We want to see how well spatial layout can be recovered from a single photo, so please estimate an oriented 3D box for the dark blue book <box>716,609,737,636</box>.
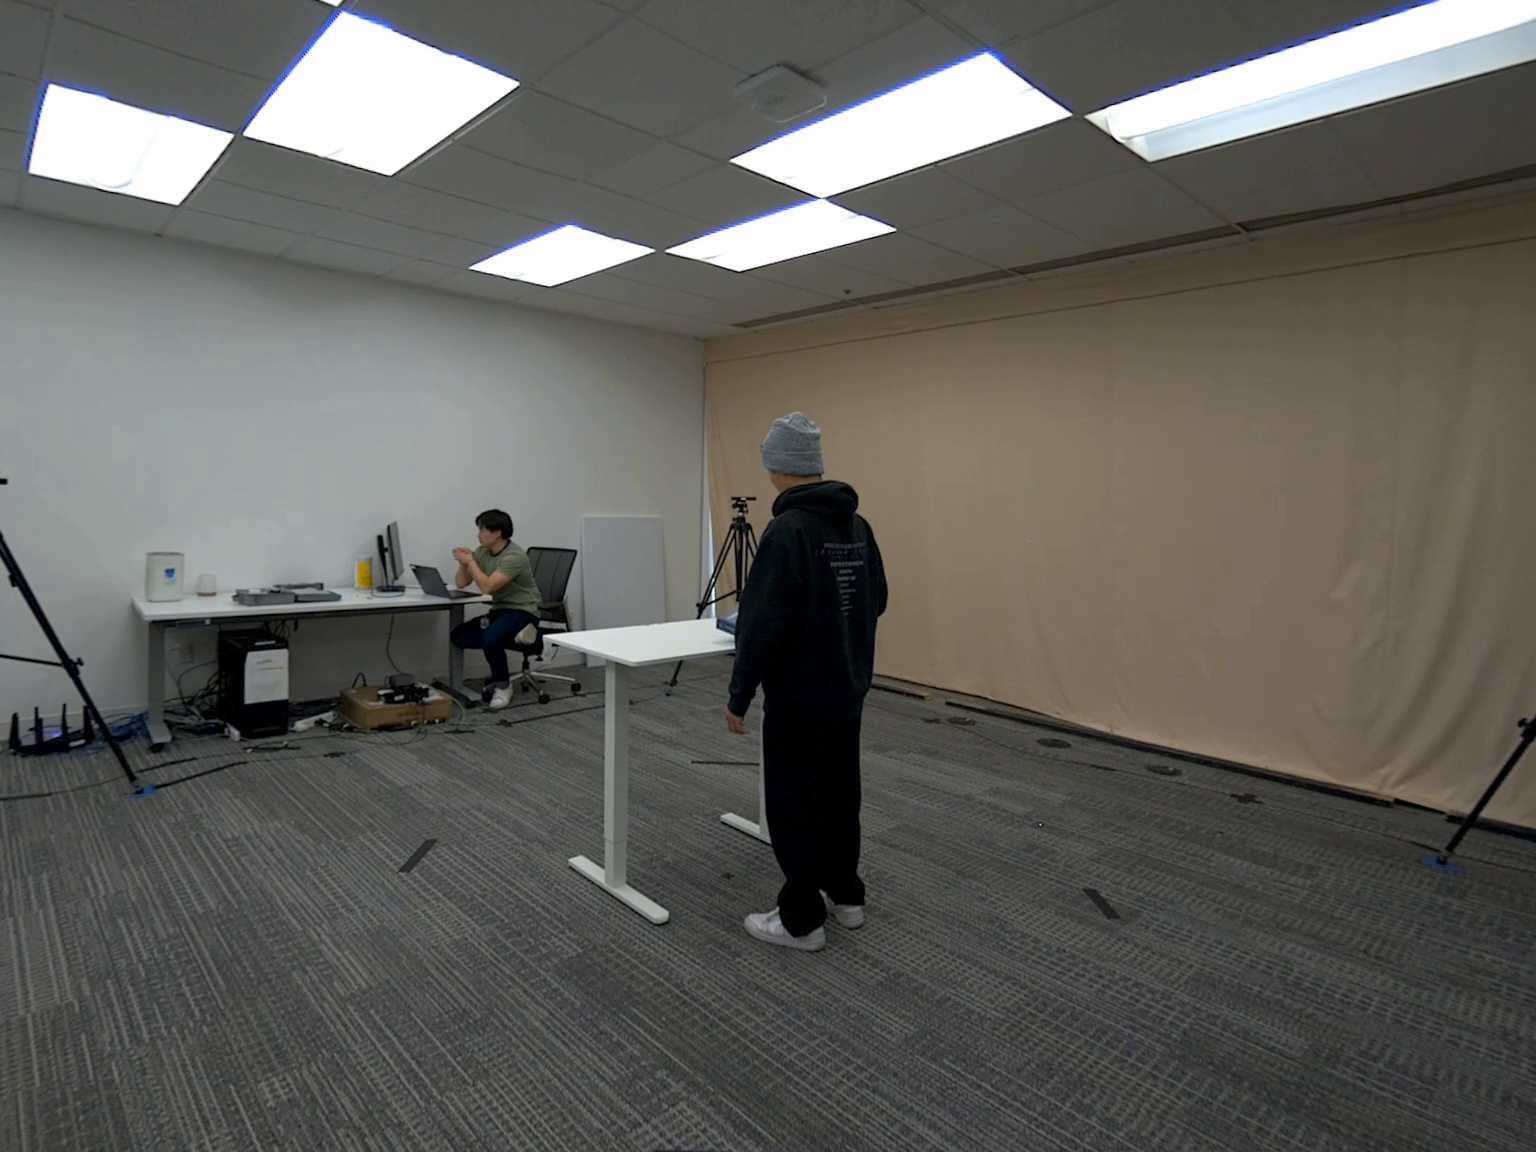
[{"bbox_3d":[-0.057,0.175,2.969,0.252,0.044,0.161,22,31,34],"label":"dark blue book"}]
